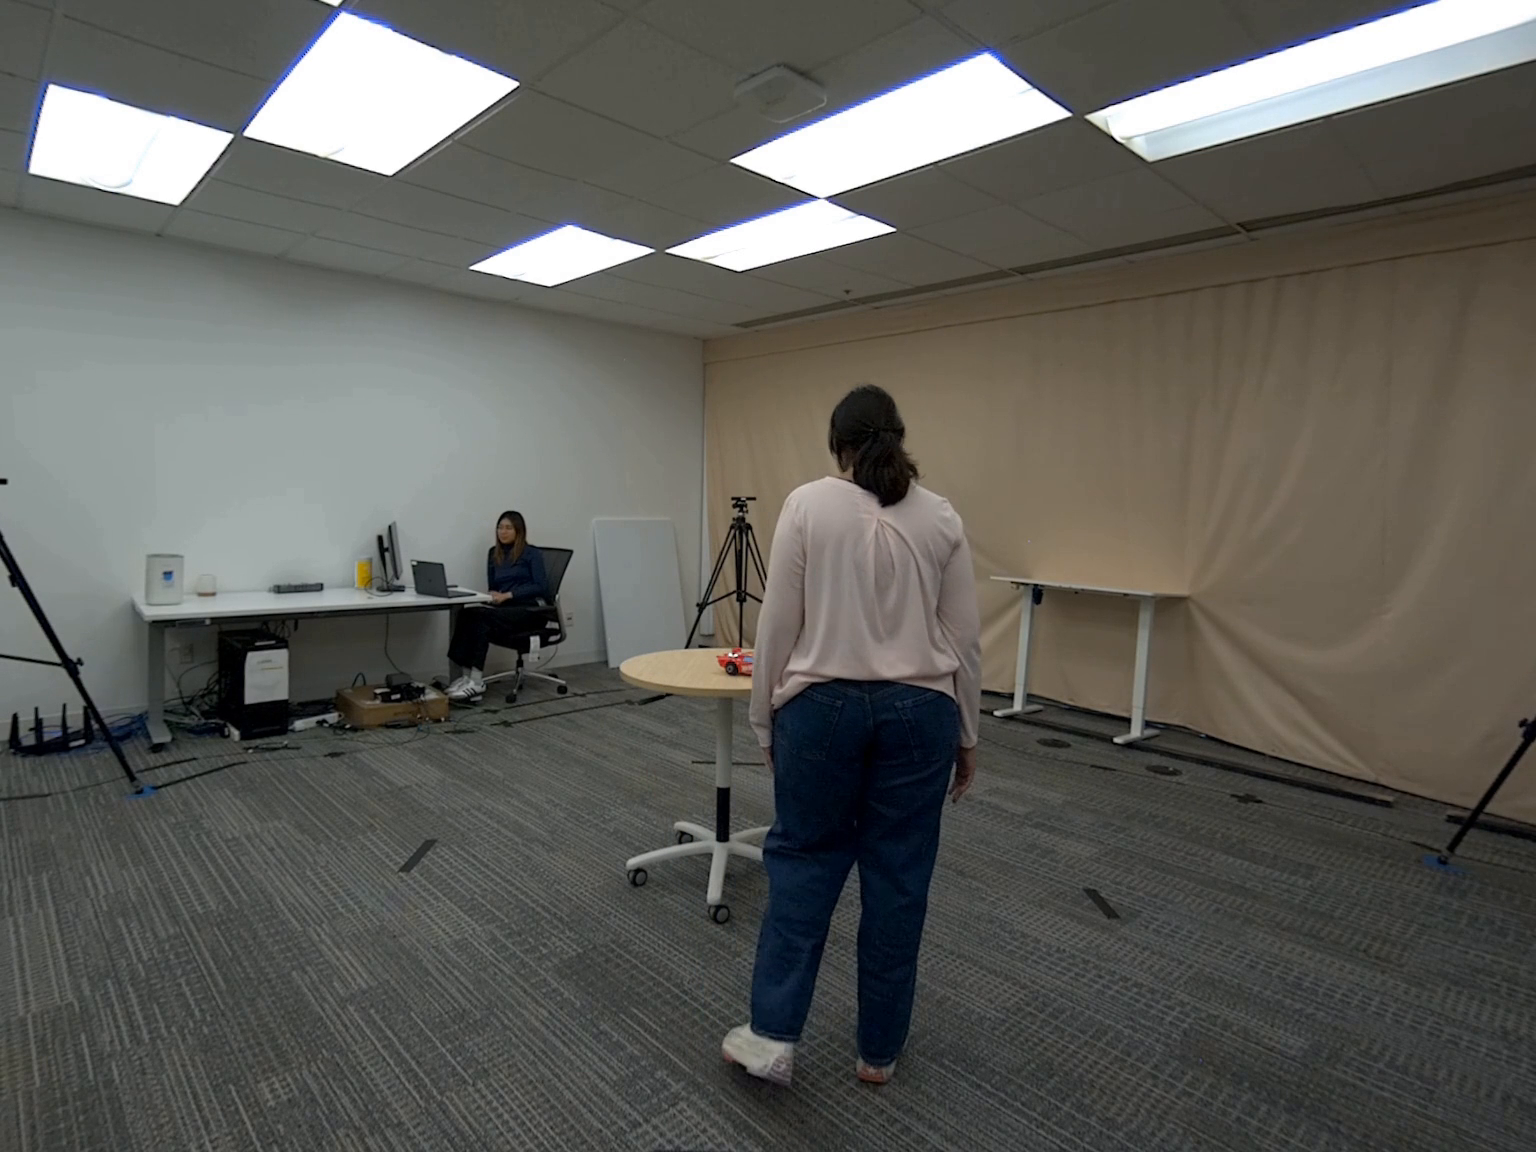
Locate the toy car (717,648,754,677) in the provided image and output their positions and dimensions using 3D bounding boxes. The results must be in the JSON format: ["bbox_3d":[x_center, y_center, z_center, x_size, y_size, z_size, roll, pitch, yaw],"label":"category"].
[{"bbox_3d":[-0.068,0.313,2.905,0.261,0.083,0.128,16,10,27],"label":"toy car"}]
